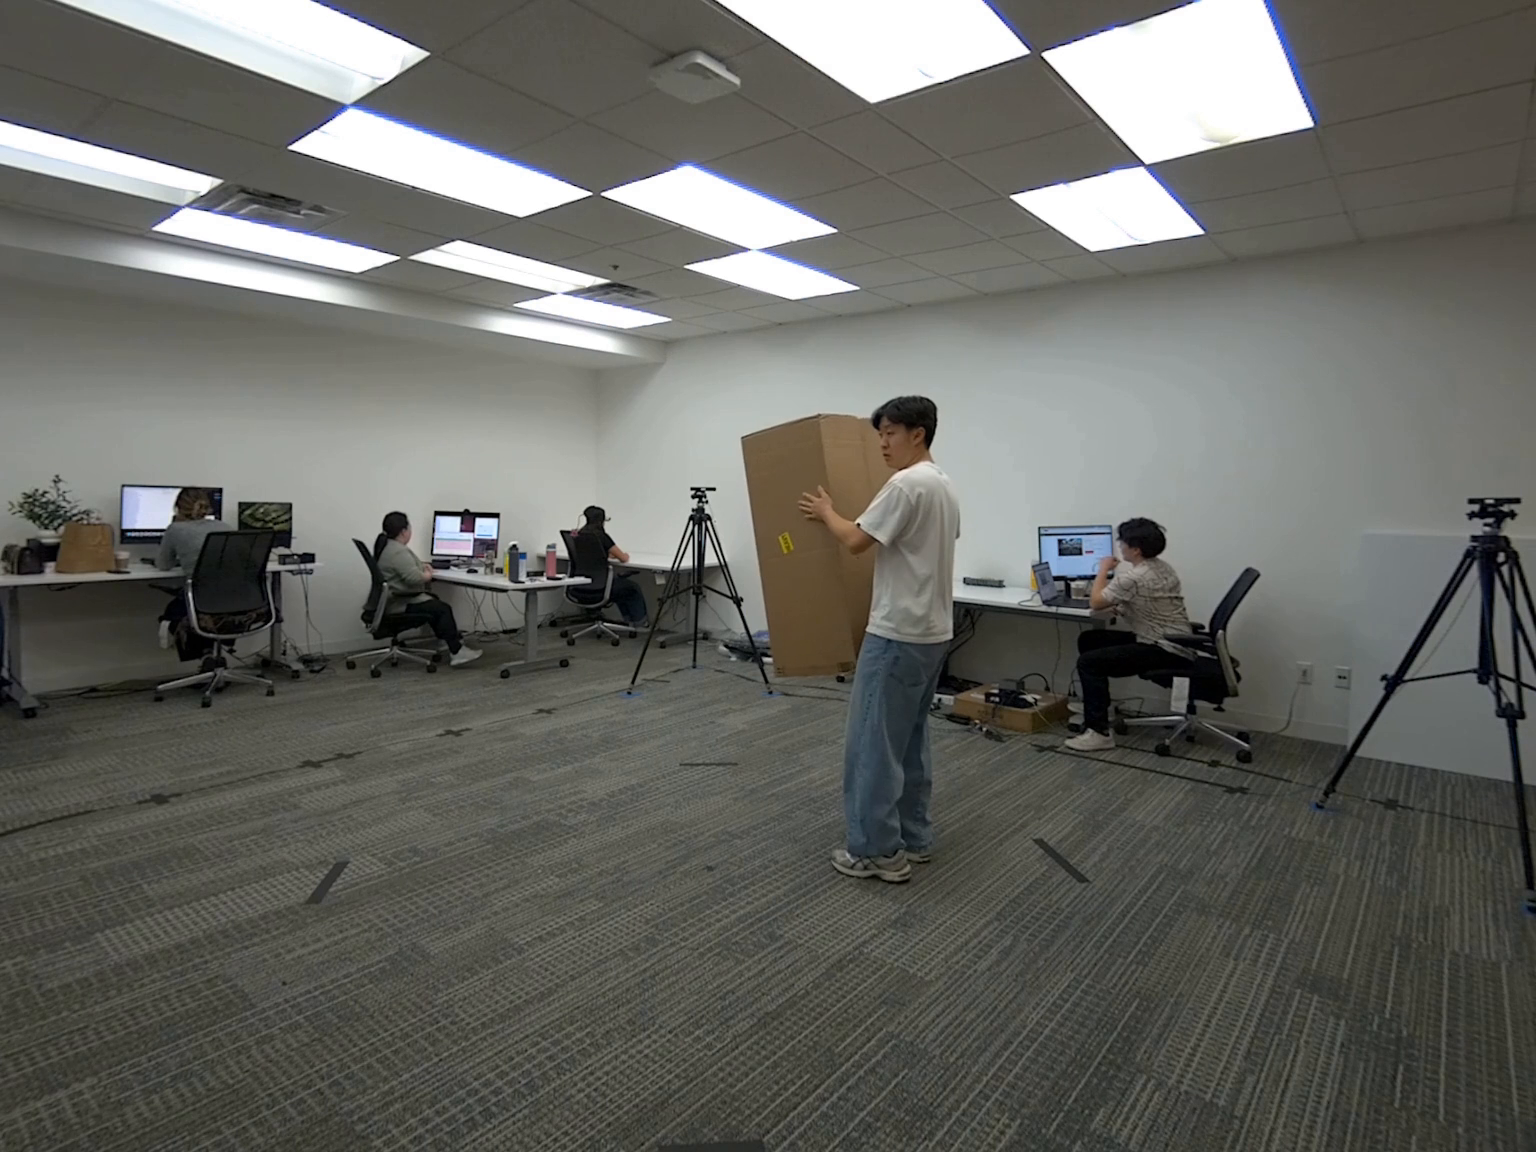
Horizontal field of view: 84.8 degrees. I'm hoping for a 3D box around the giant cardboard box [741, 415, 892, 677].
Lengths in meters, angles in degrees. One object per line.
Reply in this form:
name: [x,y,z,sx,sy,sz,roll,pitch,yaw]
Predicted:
giant cardboard box: [0.276,-0.132,3.633,0.437,1.030,0.561,-11,-4,41]
